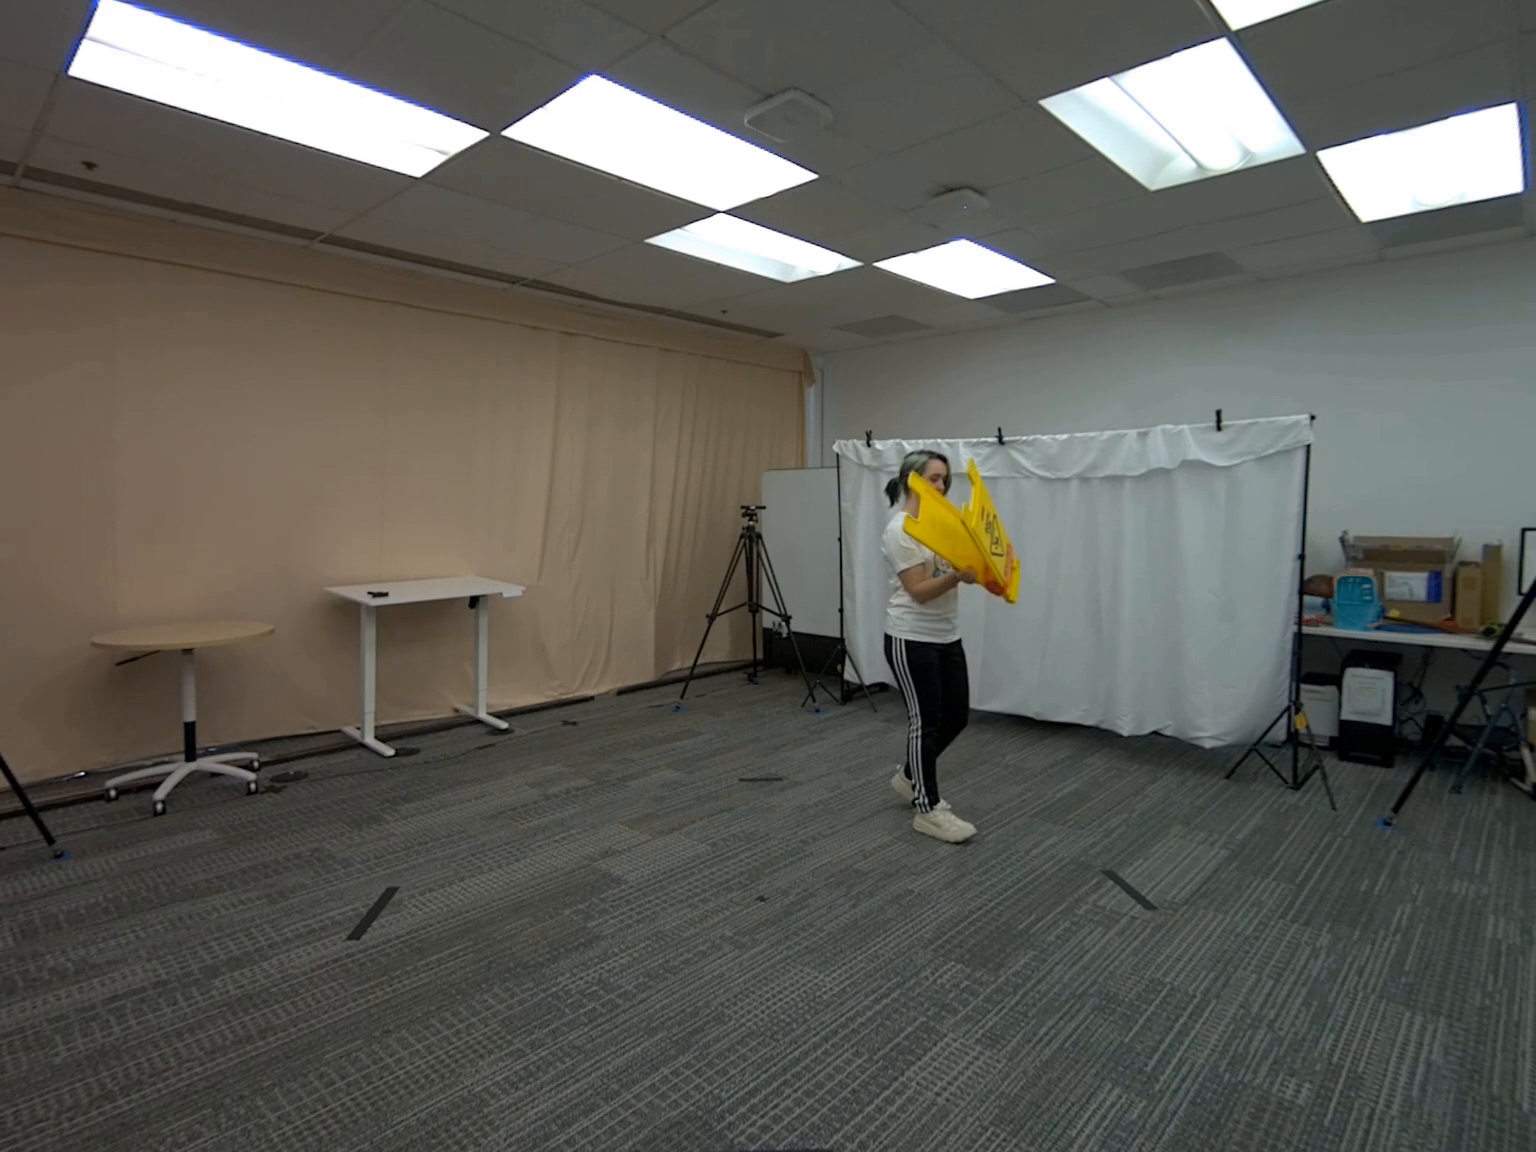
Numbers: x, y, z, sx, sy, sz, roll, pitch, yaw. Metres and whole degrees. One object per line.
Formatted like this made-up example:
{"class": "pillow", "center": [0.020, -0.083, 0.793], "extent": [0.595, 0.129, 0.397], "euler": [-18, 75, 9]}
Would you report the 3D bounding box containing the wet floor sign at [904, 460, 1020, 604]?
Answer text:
{"class": "wet floor sign", "center": [0.804, -0.125, 3.216], "extent": [0.297, 0.284, 0.624], "euler": [-13, -41, 42]}
